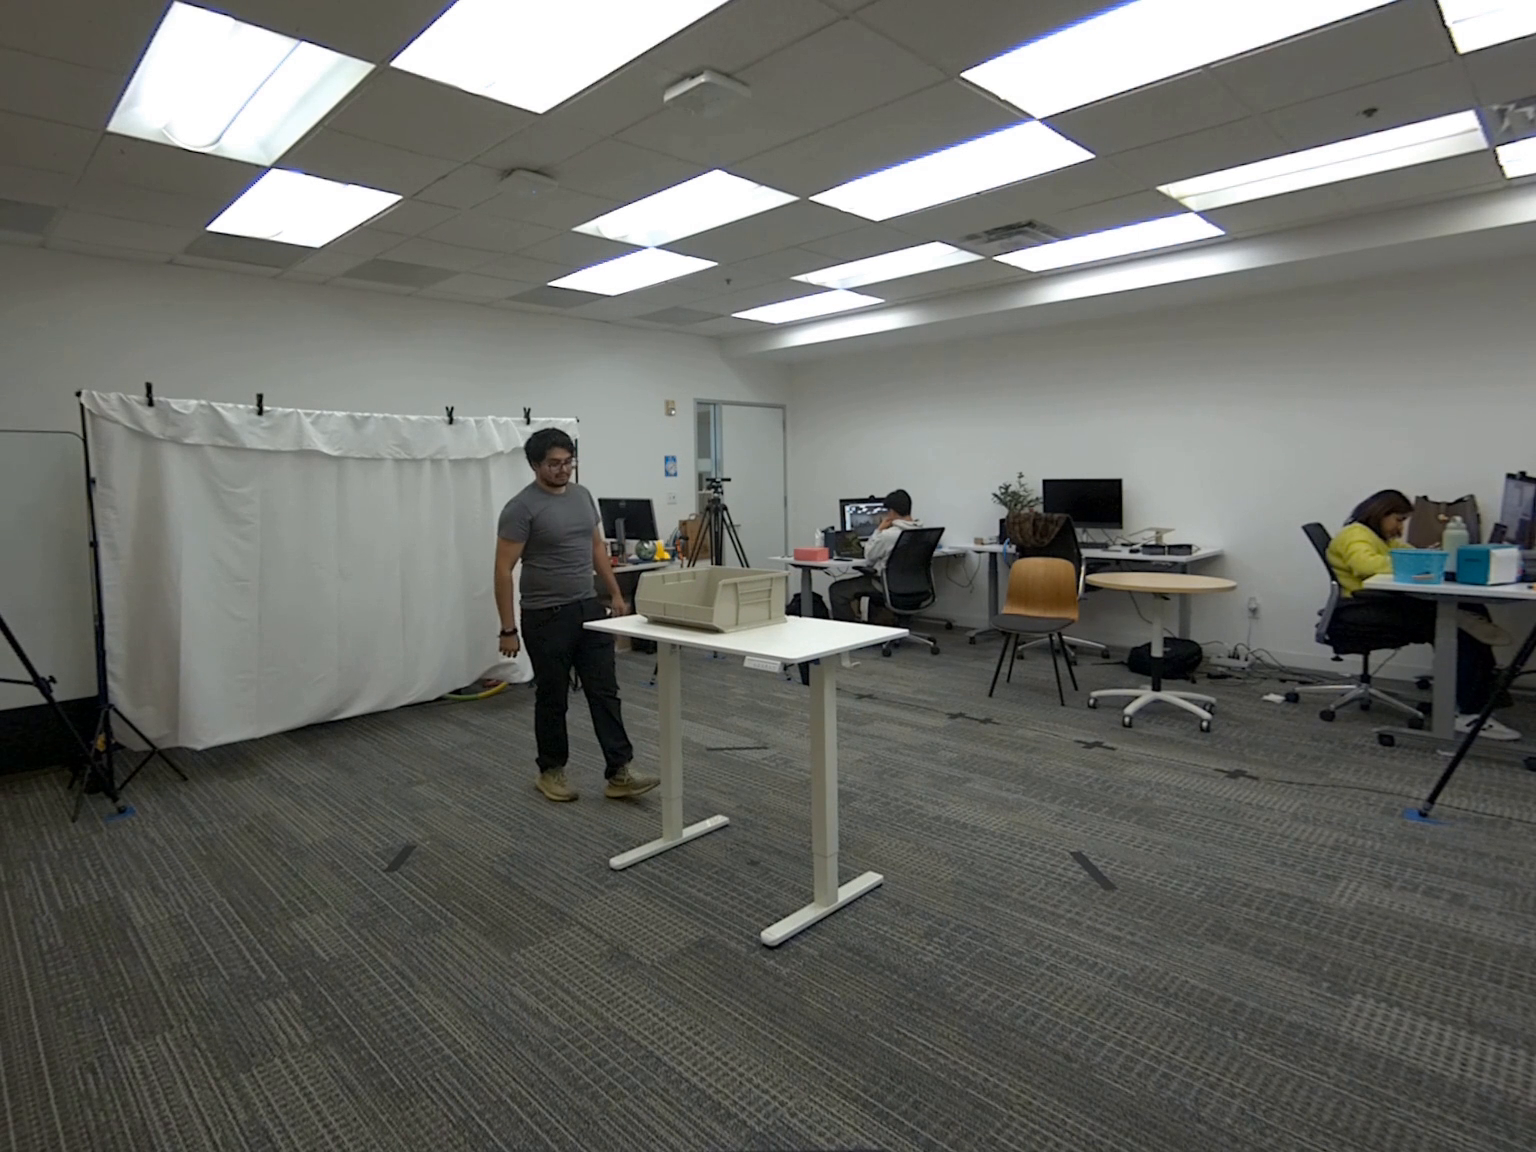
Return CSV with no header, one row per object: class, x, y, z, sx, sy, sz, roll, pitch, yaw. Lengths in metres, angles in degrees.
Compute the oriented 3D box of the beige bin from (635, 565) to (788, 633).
beige bin,-0.201,0.079,3.061,0.435,0.188,0.367,4,6,44
